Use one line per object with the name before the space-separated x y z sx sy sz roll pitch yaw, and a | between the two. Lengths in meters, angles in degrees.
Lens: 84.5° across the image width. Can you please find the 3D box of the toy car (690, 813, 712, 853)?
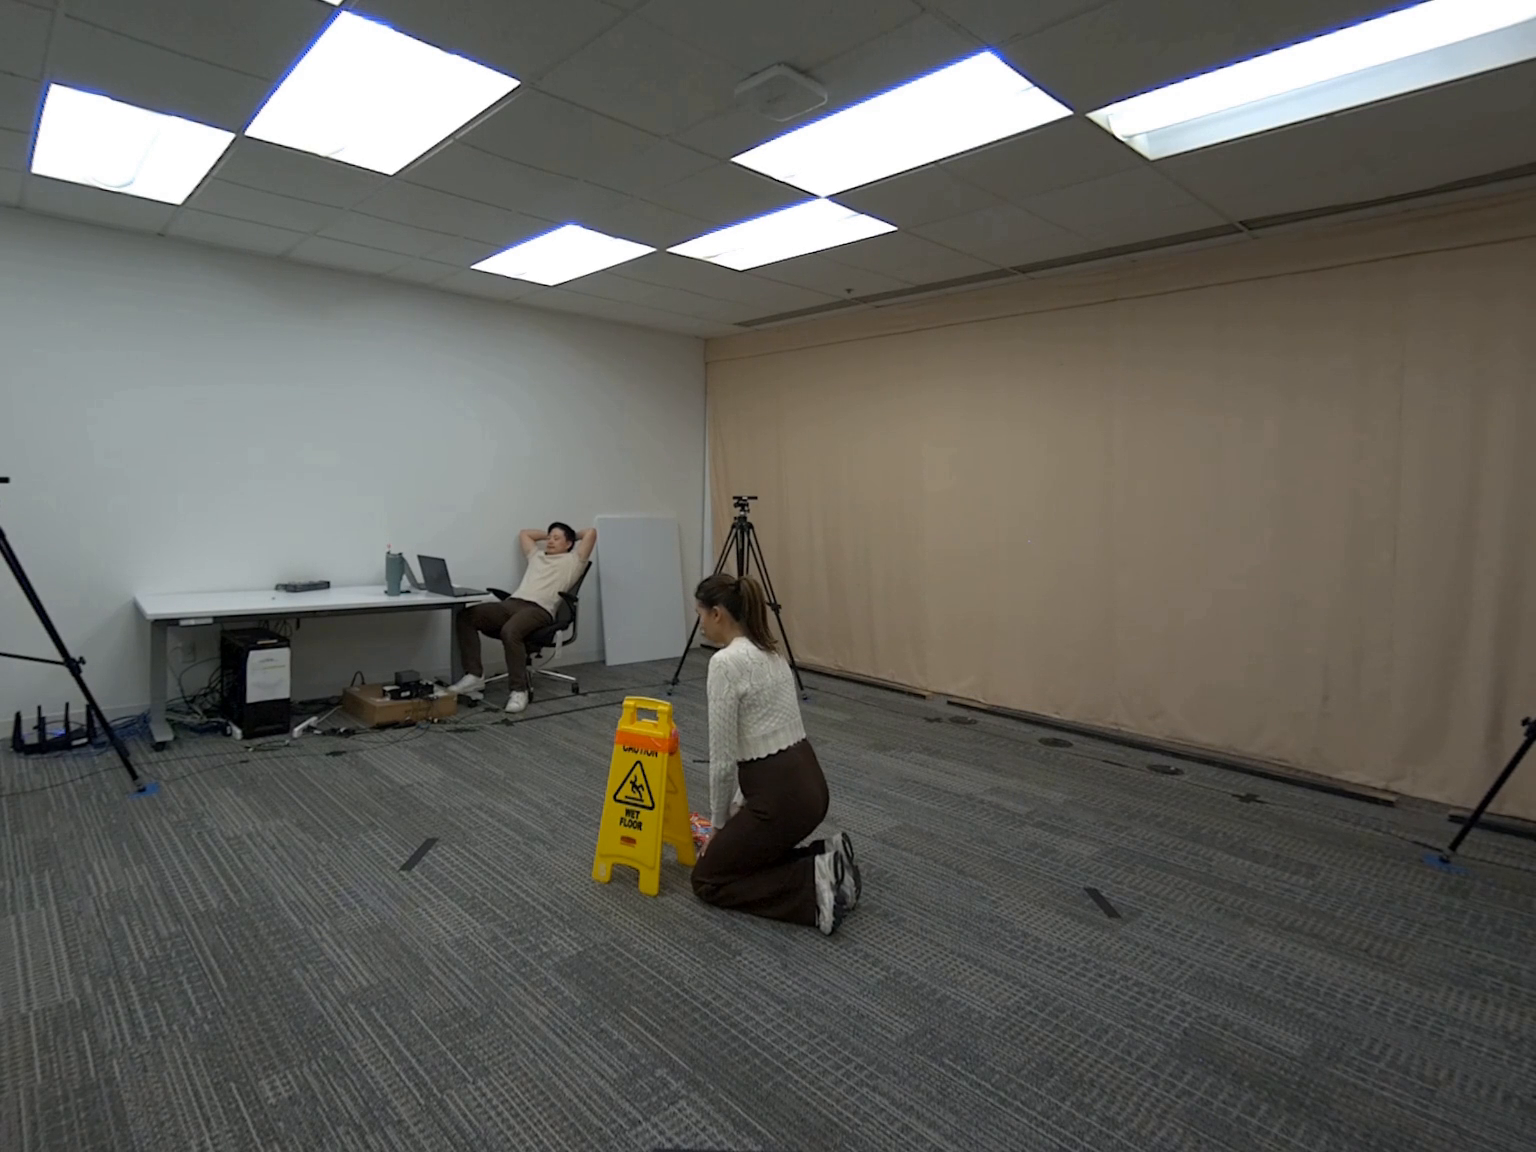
toy car | -0.283 1.045 3.437 0.128 0.082 0.262 -1 16 -30
